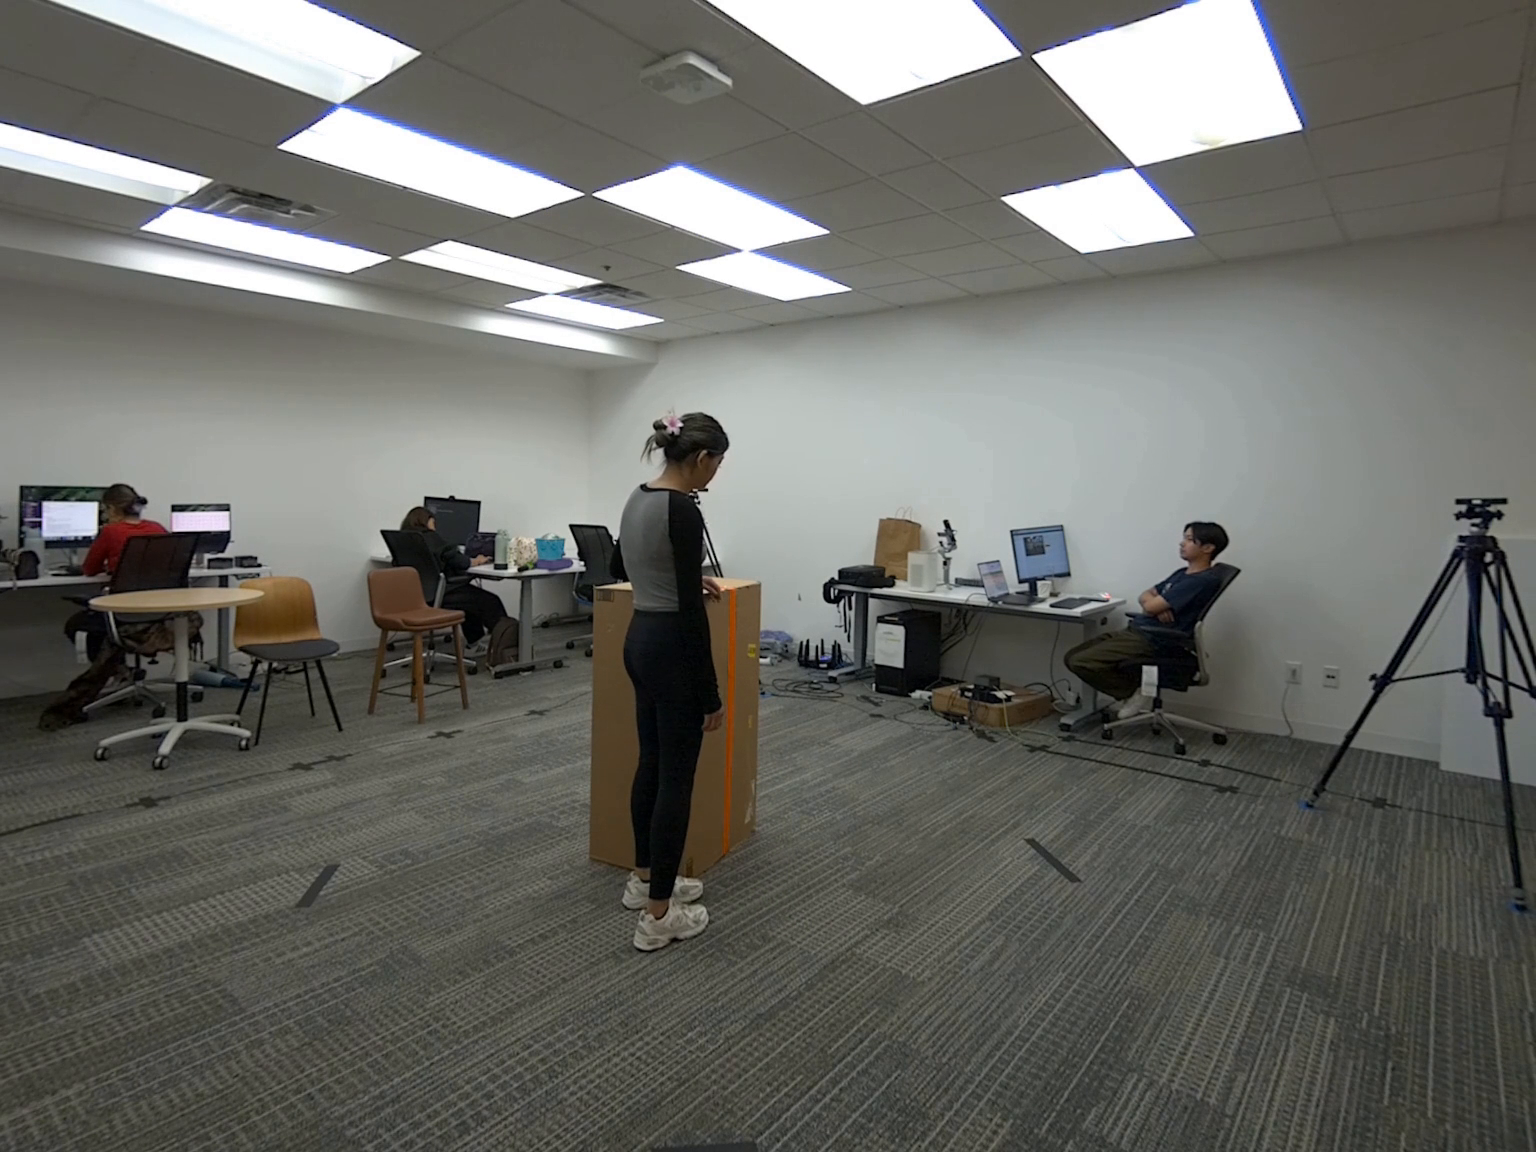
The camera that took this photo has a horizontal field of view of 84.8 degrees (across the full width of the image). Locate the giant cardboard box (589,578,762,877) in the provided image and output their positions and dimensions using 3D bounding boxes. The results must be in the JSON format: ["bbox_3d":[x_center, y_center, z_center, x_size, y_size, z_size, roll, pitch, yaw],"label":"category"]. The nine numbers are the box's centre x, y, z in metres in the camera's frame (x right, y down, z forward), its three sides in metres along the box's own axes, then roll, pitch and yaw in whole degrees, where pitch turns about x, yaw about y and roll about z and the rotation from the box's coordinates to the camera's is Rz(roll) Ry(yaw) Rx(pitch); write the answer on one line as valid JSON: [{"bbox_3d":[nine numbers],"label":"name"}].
[{"bbox_3d":[-0.356,0.537,3.310,0.438,1.023,0.563,3,4,27],"label":"giant cardboard box"}]
